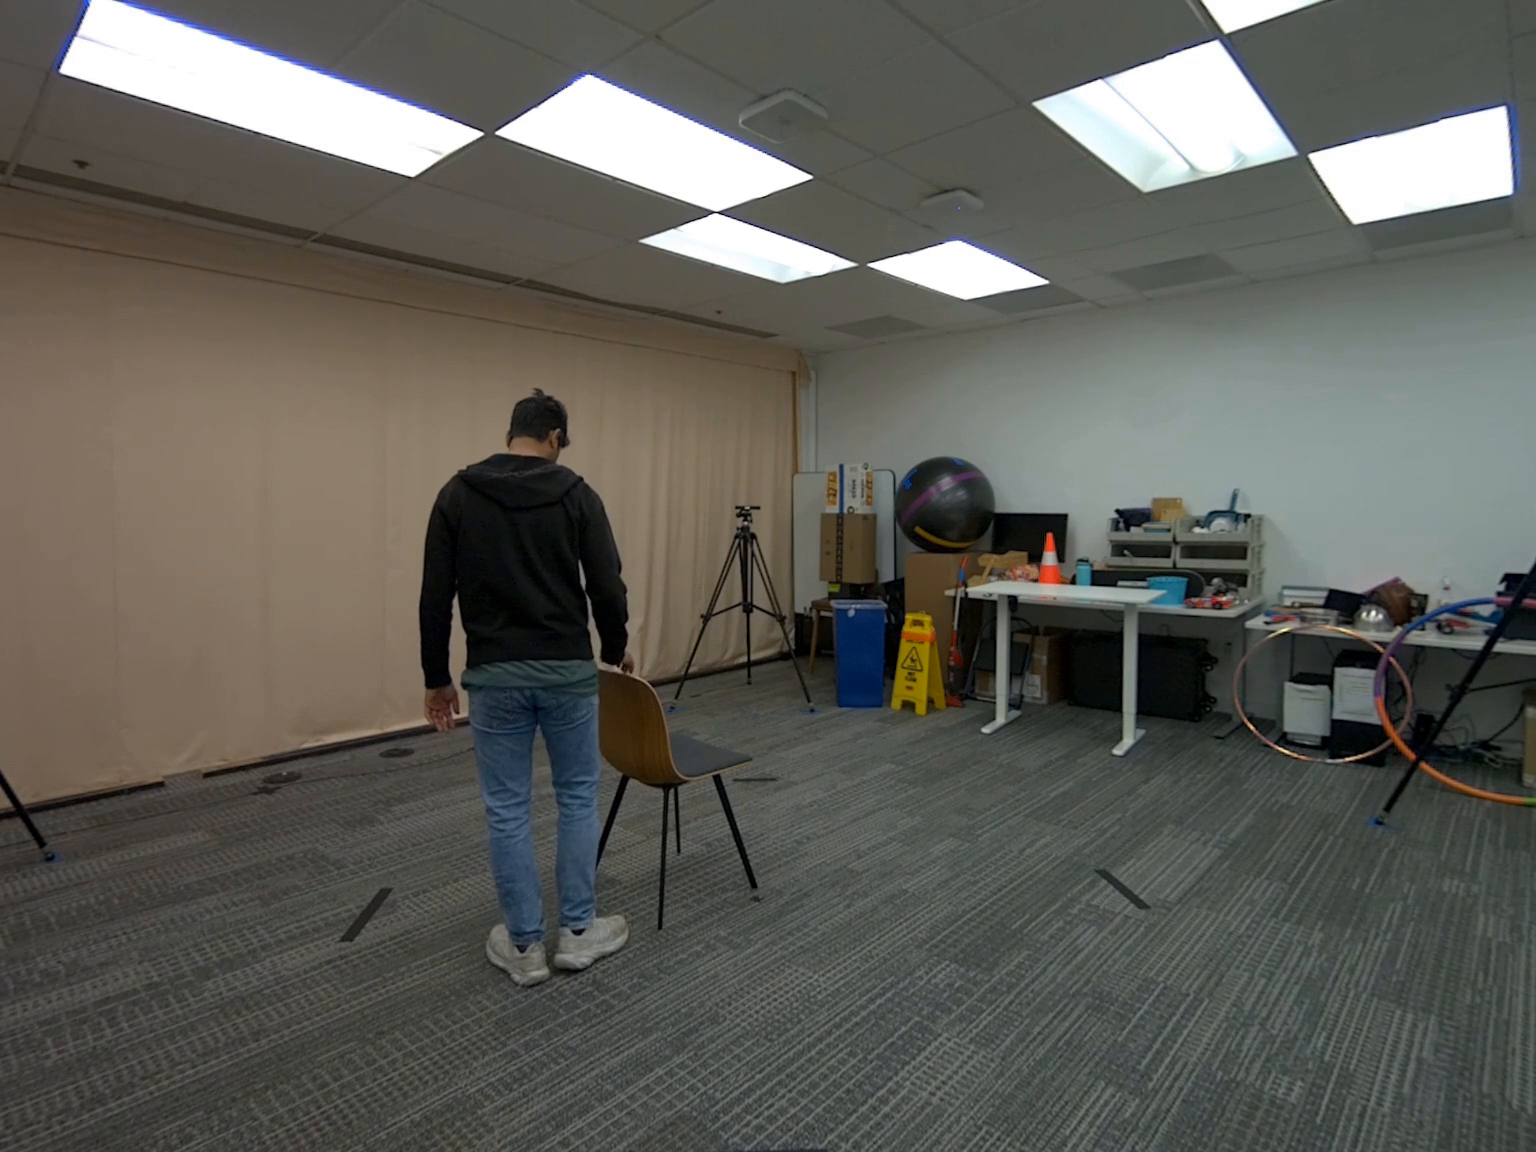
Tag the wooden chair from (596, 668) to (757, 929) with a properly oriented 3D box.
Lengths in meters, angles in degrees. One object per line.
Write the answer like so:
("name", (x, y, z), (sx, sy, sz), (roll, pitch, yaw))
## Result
("wooden chair", (-0.347, 0.716, 3.055), (0.508, 0.874, 0.494), (-9, 8, -43))
